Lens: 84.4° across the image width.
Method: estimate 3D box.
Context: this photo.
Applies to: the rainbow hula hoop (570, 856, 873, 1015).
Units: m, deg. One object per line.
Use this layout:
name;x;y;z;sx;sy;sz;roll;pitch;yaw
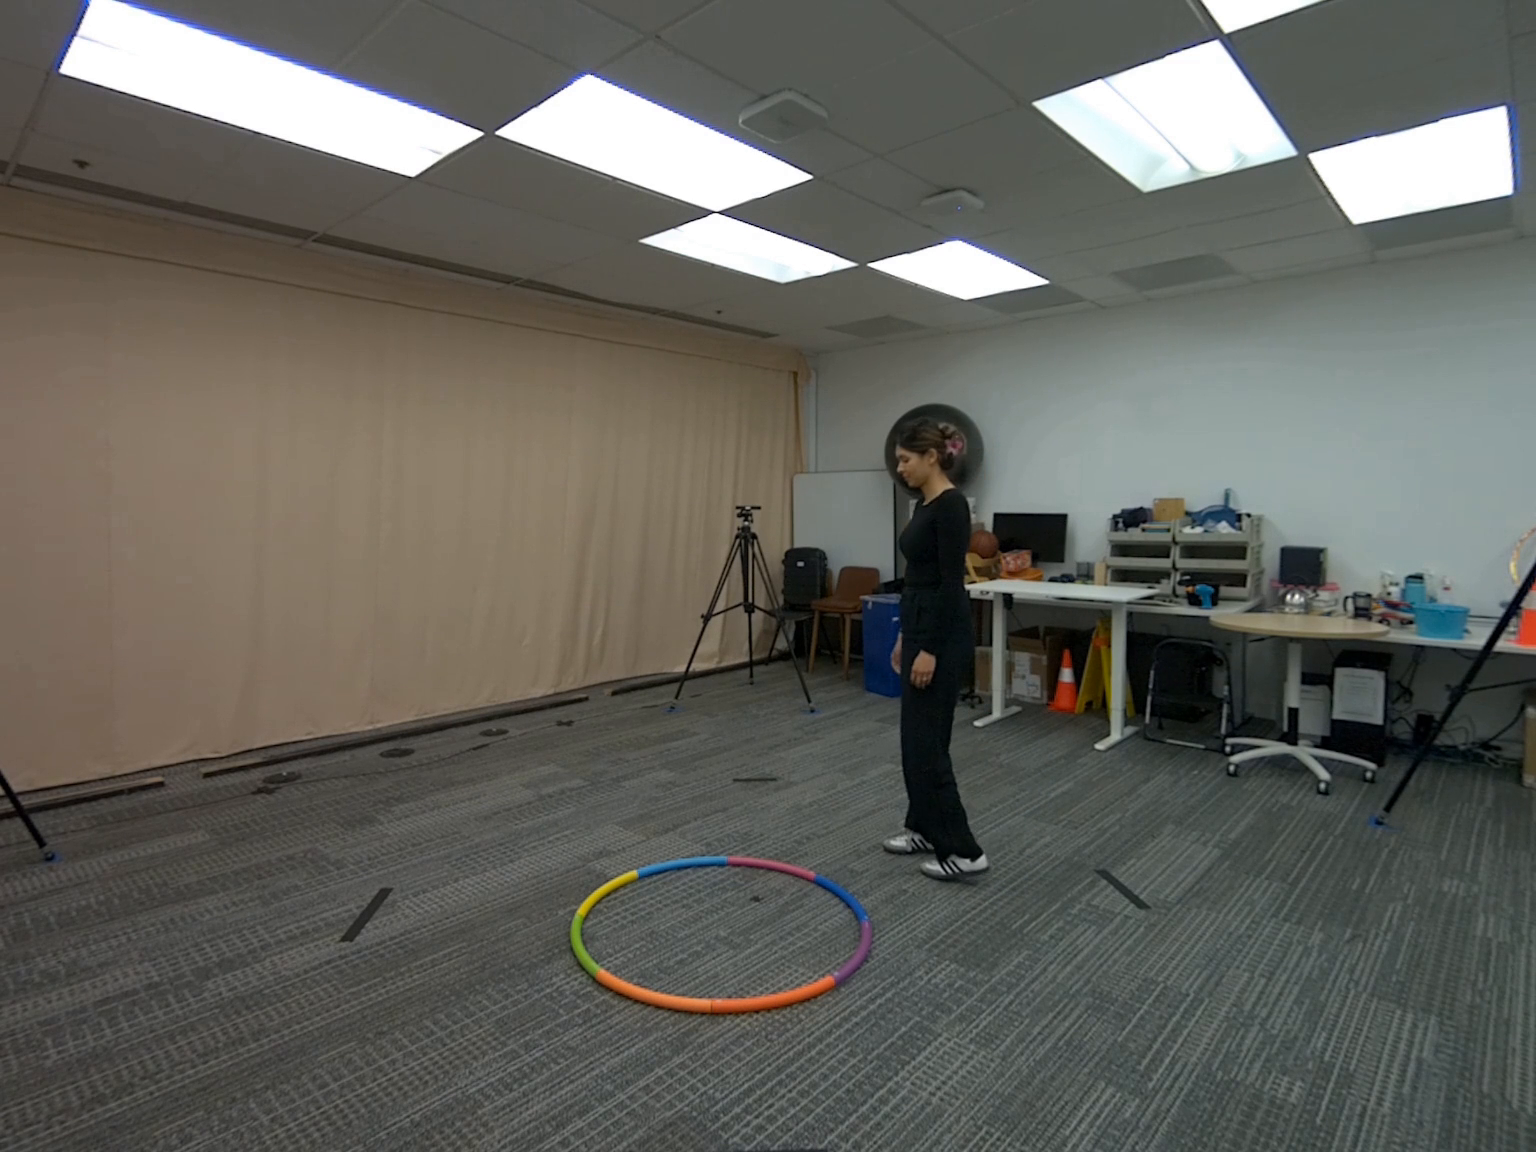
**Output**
rainbow hula hoop;-0.156;1.133;2.790;0.978;0.035;0.982;0;4;-2
